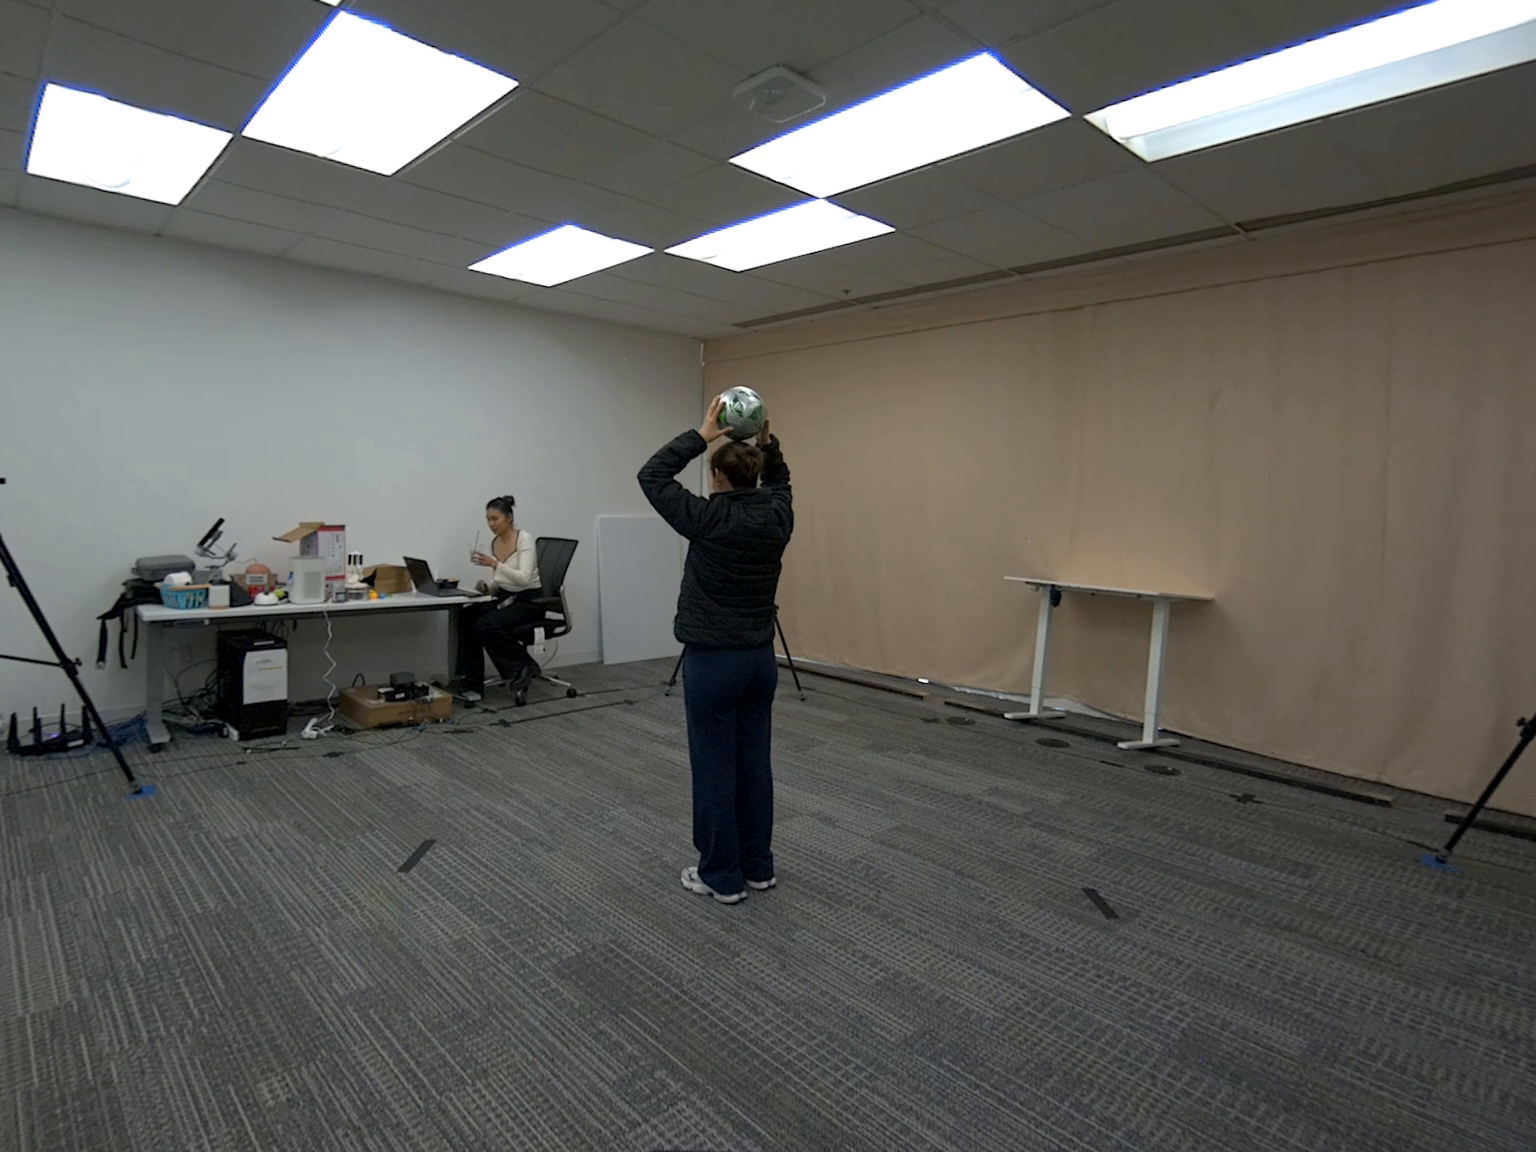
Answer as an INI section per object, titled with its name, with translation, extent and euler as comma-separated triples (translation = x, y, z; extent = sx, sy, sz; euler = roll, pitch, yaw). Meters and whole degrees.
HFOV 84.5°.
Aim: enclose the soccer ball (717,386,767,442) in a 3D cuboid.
[soccer ball]
translation = -0.102, -0.569, 2.956
extent = 0.187, 0.187, 0.188
euler = 1, 4, -1
